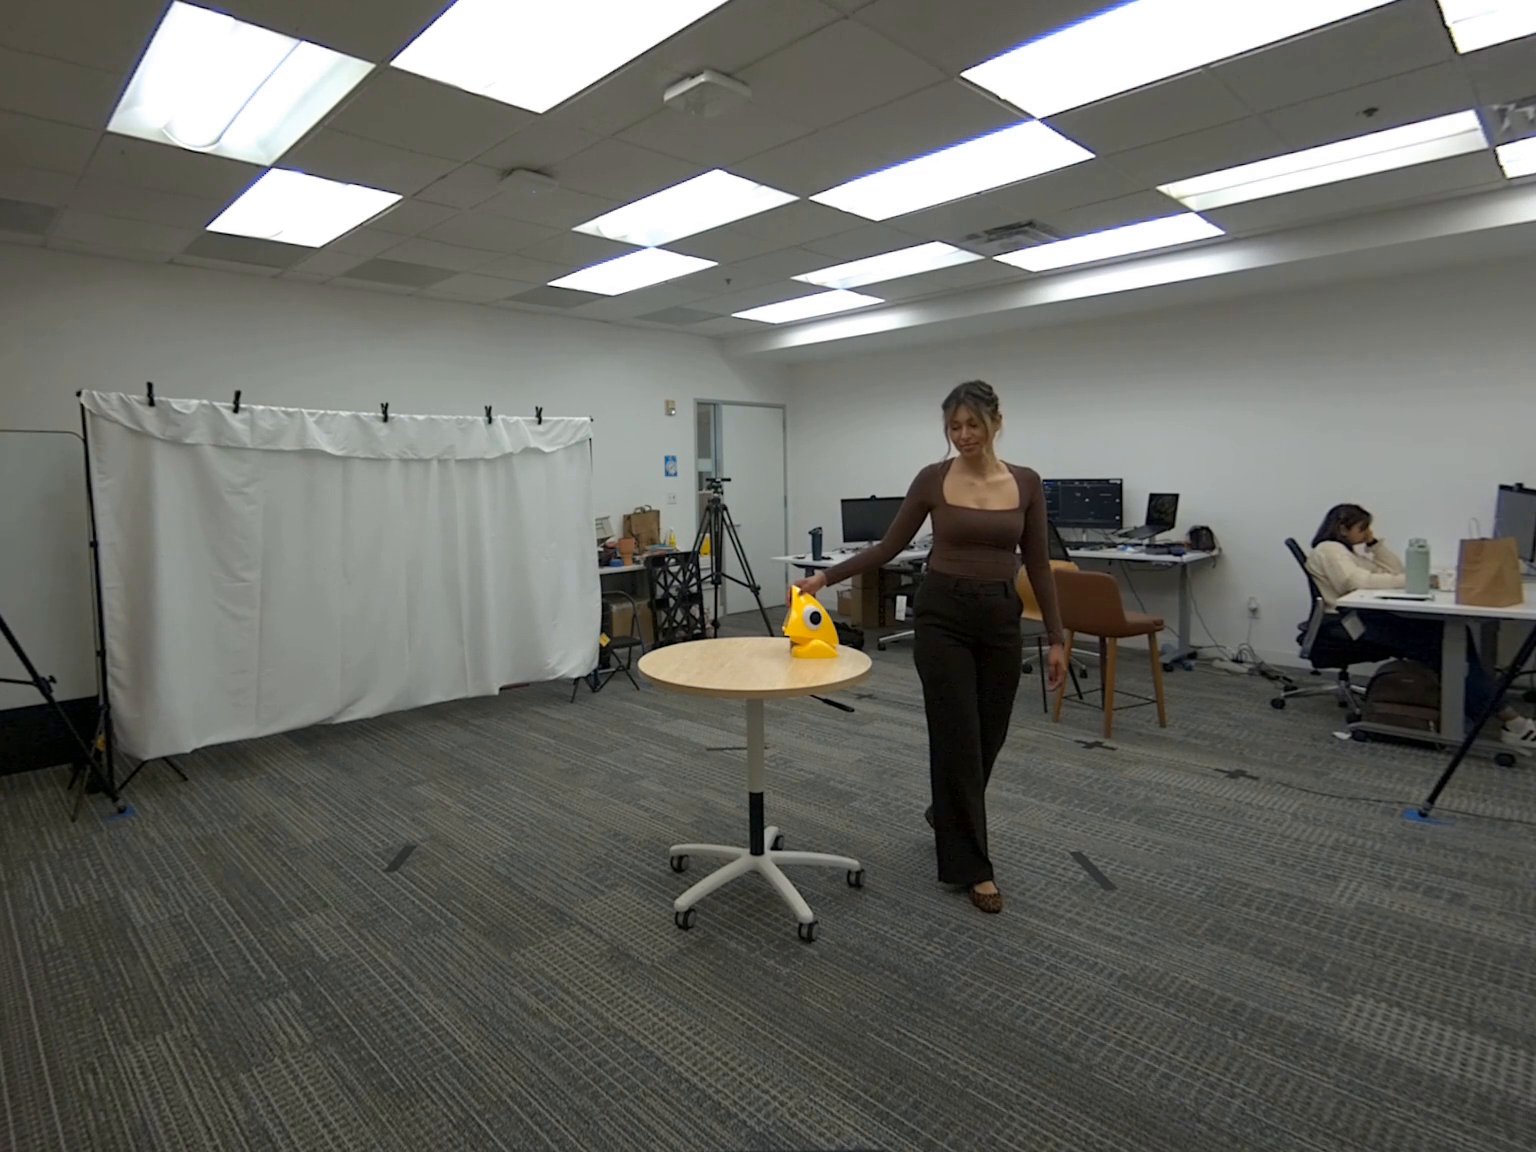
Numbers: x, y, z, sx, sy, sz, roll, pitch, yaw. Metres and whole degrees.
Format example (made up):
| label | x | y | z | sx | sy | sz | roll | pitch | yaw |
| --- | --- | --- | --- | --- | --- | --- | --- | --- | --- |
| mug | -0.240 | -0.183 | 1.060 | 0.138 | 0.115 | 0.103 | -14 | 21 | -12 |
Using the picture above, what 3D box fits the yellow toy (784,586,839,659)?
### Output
| label | x | y | z | sx | sy | sz | roll | pitch | yaw |
| --- | --- | --- | --- | --- | --- | --- | --- | --- | --- |
| yellow toy | 0.151 | 0.148 | 2.918 | 0.194 | 0.230 | 0.205 | -1 | 5 | 2 |
